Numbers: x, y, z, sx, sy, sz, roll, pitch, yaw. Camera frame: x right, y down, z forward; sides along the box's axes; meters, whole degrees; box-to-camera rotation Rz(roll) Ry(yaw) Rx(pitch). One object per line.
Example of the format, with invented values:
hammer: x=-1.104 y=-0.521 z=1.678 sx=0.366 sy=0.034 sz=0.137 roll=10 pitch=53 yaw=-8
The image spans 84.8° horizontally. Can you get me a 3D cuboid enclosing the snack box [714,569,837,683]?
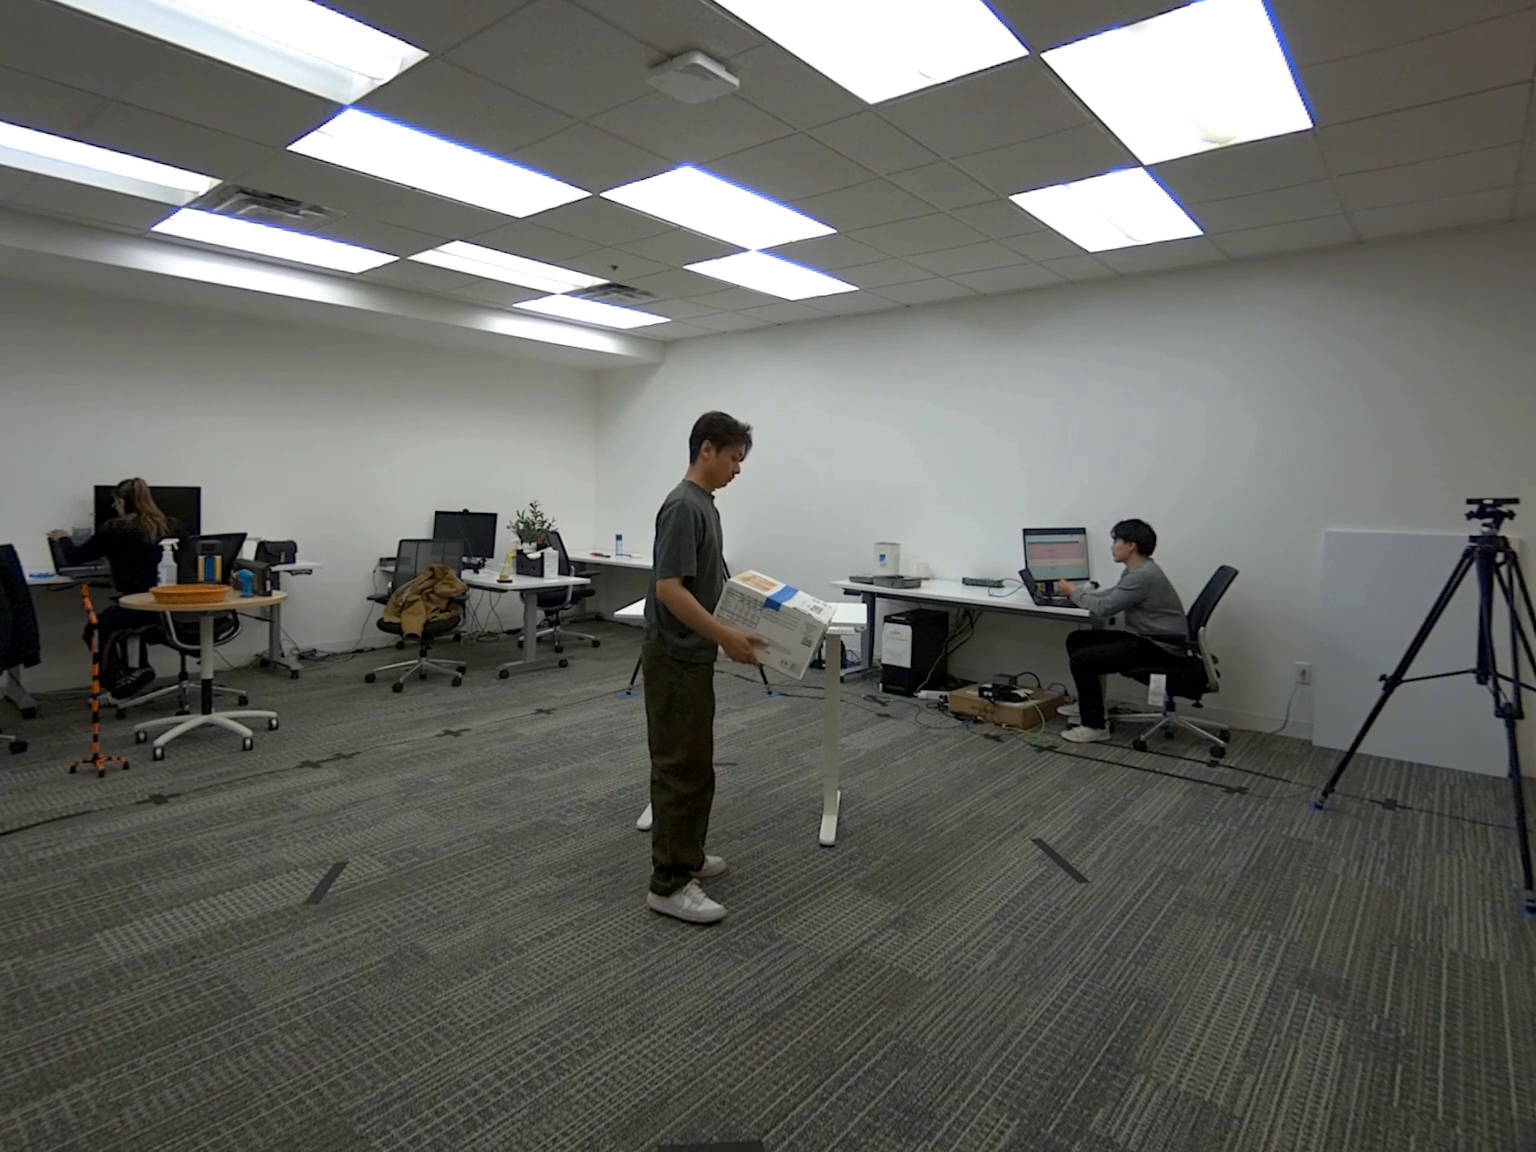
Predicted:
snack box: x=0.015 y=0.154 z=2.856 sx=0.345 sy=0.205 sz=0.401 roll=23 pitch=8 yaw=9
